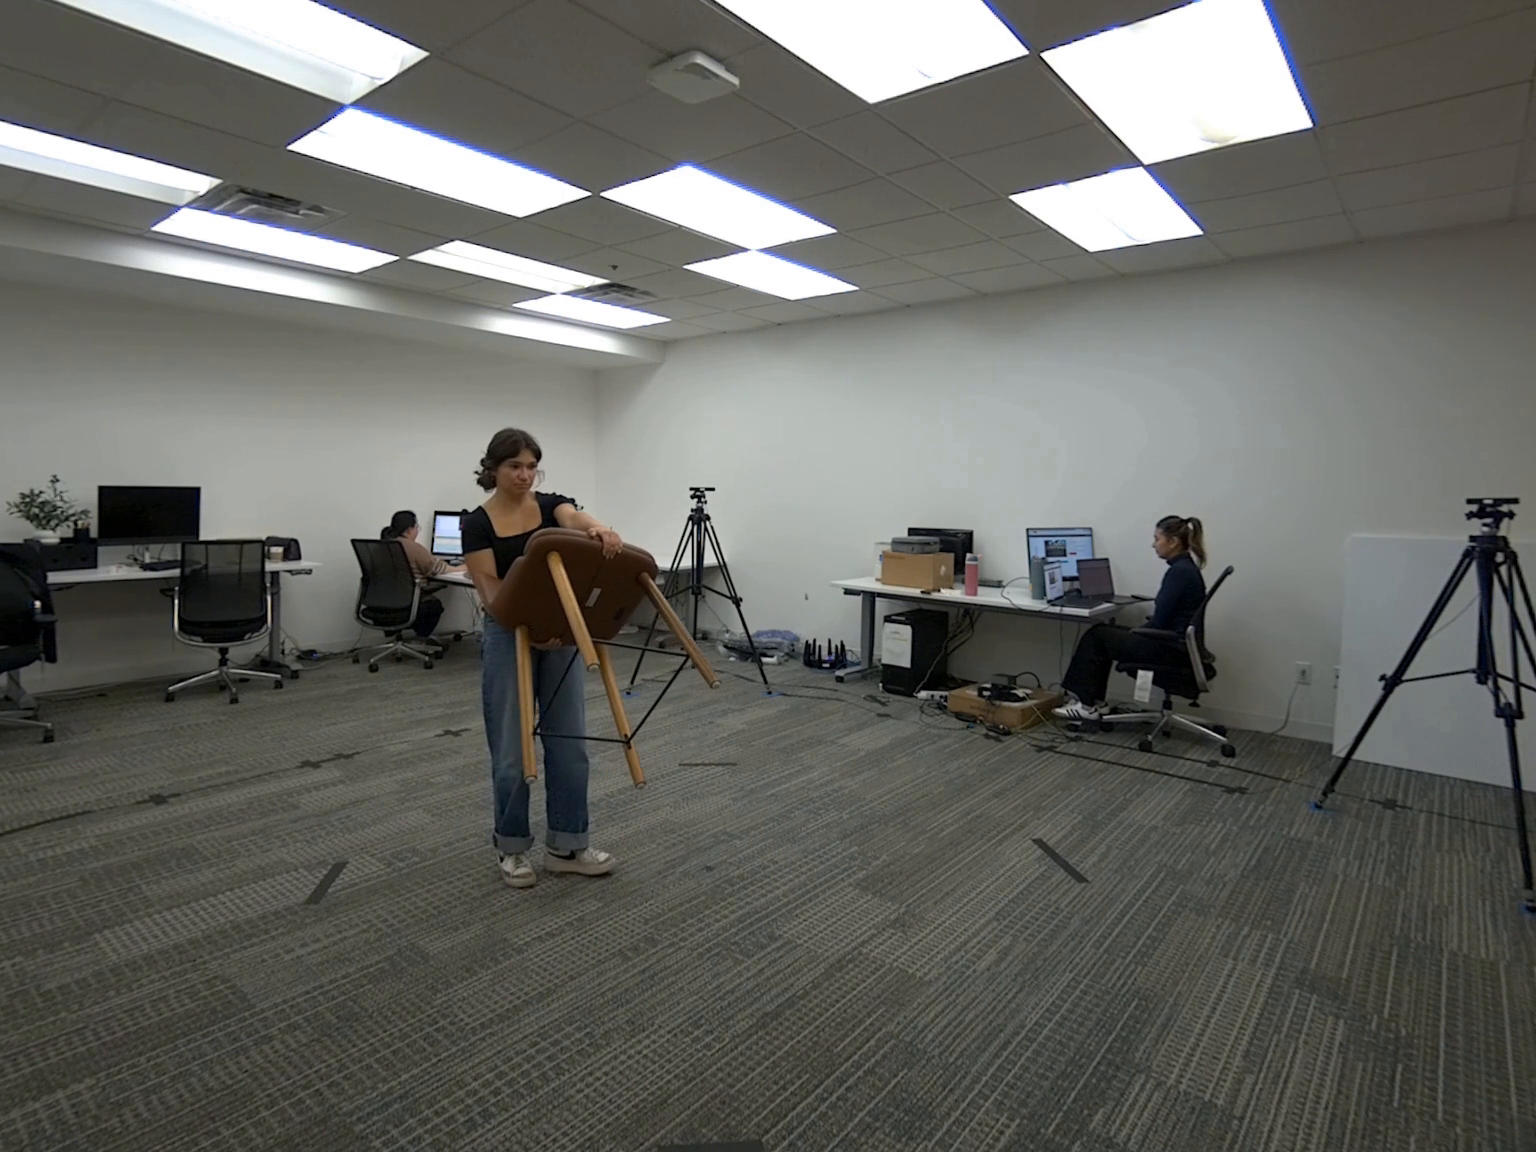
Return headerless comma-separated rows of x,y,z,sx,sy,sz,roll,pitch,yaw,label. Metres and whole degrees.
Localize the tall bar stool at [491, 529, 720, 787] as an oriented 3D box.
-0.561,0.157,2.604,0.440,0.465,0.927,13,30,-37,tall bar stool
